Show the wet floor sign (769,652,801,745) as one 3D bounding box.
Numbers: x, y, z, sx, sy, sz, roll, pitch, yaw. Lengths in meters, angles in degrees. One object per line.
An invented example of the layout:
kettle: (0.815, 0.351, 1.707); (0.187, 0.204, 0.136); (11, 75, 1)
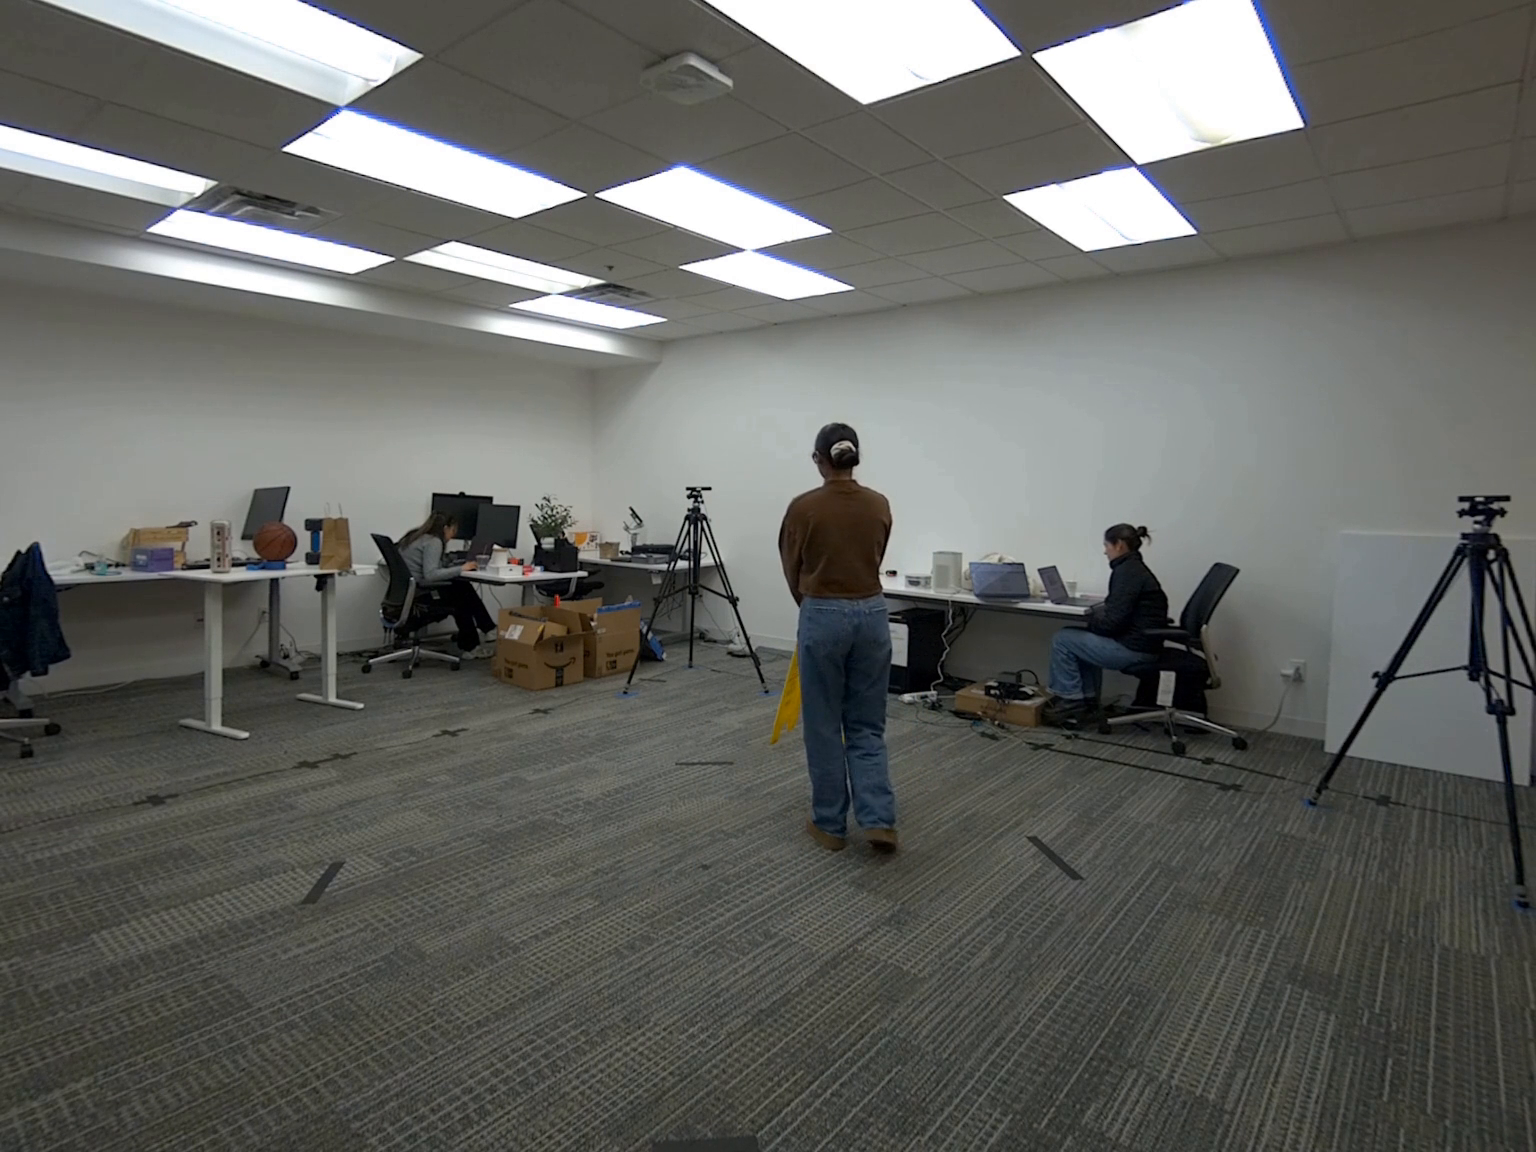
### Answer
wet floor sign: (0.190, 0.418, 3.744); (0.297, 0.643, 0.276); (5, 6, 24)
